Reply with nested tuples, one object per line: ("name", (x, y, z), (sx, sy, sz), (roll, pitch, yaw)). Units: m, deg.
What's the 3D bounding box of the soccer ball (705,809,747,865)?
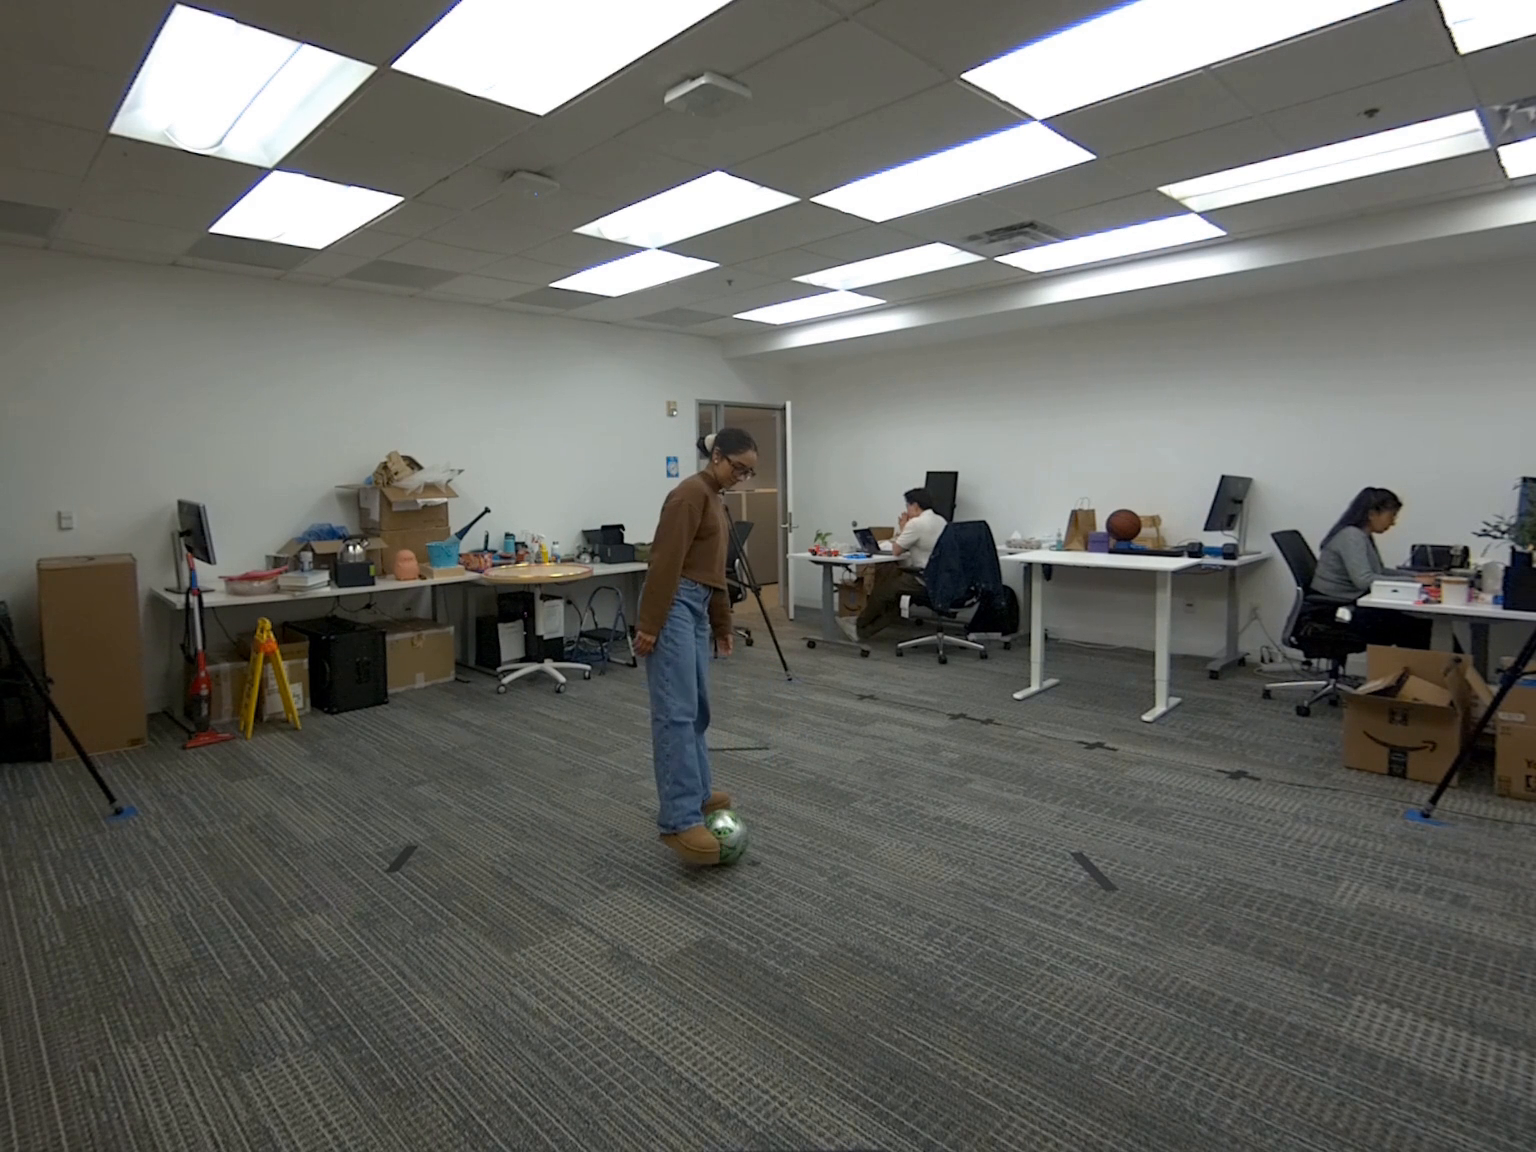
("soccer ball", (-0.165, 0.944, 3.114), (0.187, 0.187, 0.188), (-1, 5, -2))
